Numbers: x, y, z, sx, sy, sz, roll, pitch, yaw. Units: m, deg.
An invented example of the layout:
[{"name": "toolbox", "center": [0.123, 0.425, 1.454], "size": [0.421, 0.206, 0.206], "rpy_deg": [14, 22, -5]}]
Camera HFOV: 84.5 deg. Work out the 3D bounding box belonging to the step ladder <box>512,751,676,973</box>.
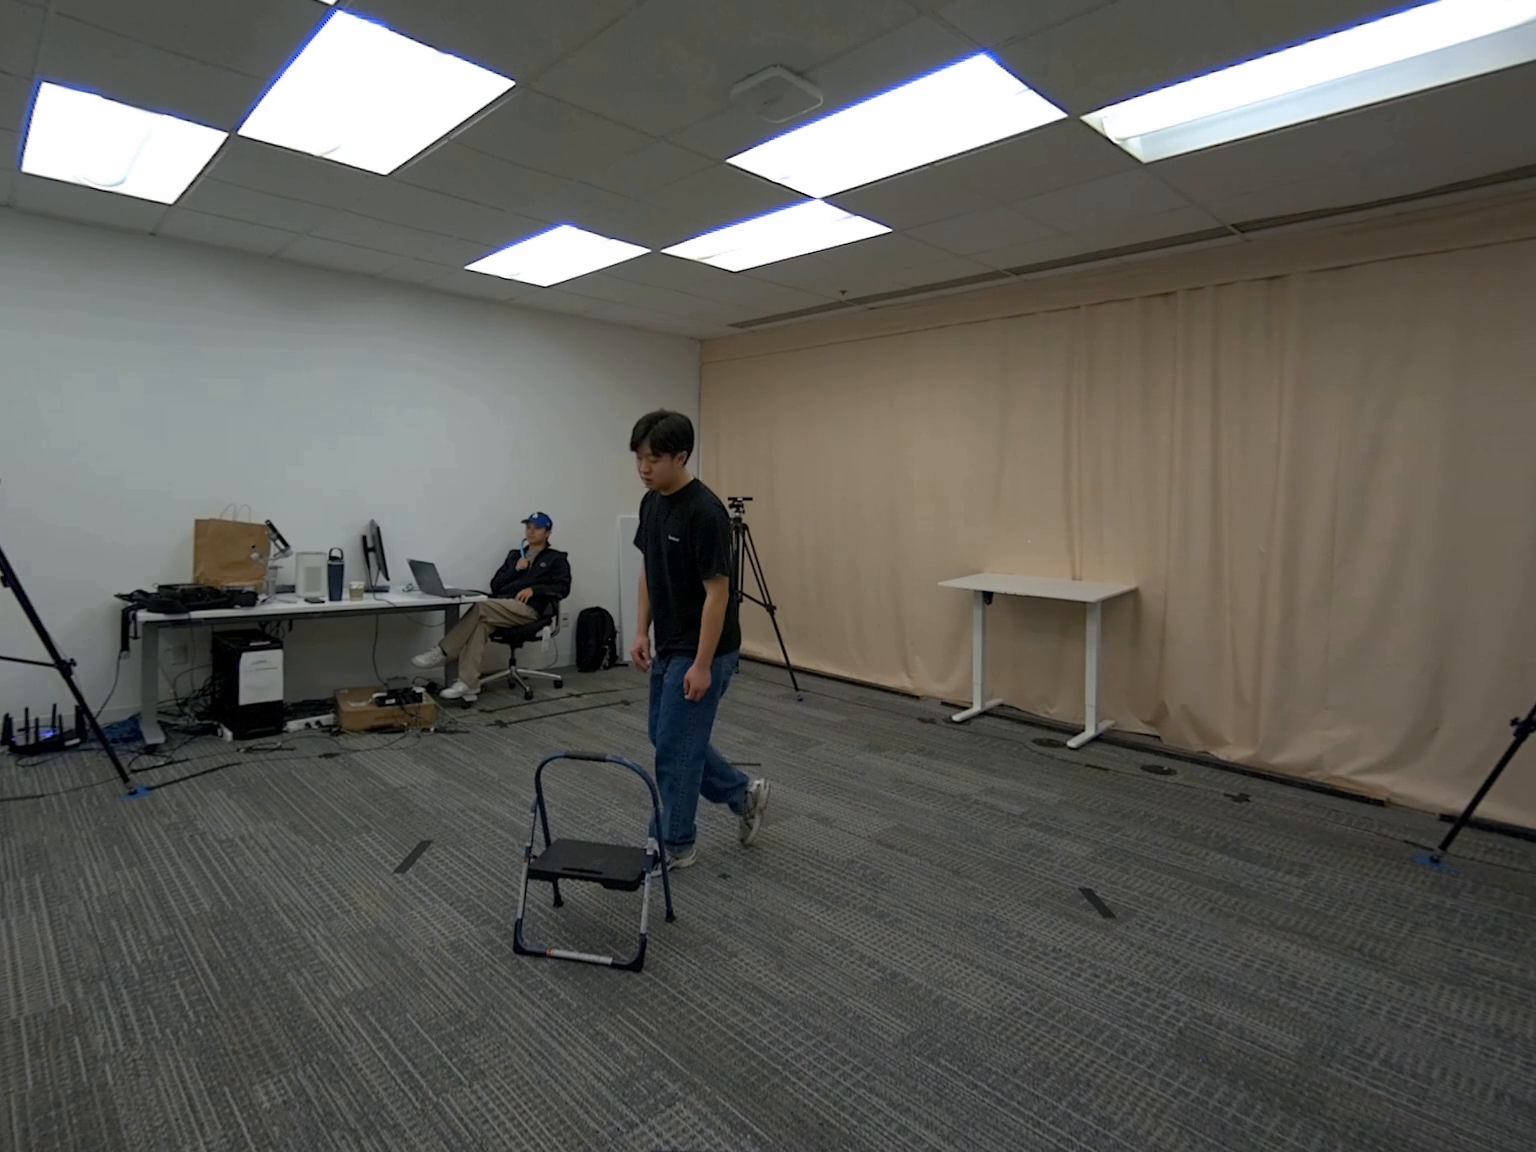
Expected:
[{"name": "step ladder", "center": [-0.545, 0.841, 2.645], "size": [0.434, 0.604, 0.347], "rpy_deg": [2, 4, 10]}]
